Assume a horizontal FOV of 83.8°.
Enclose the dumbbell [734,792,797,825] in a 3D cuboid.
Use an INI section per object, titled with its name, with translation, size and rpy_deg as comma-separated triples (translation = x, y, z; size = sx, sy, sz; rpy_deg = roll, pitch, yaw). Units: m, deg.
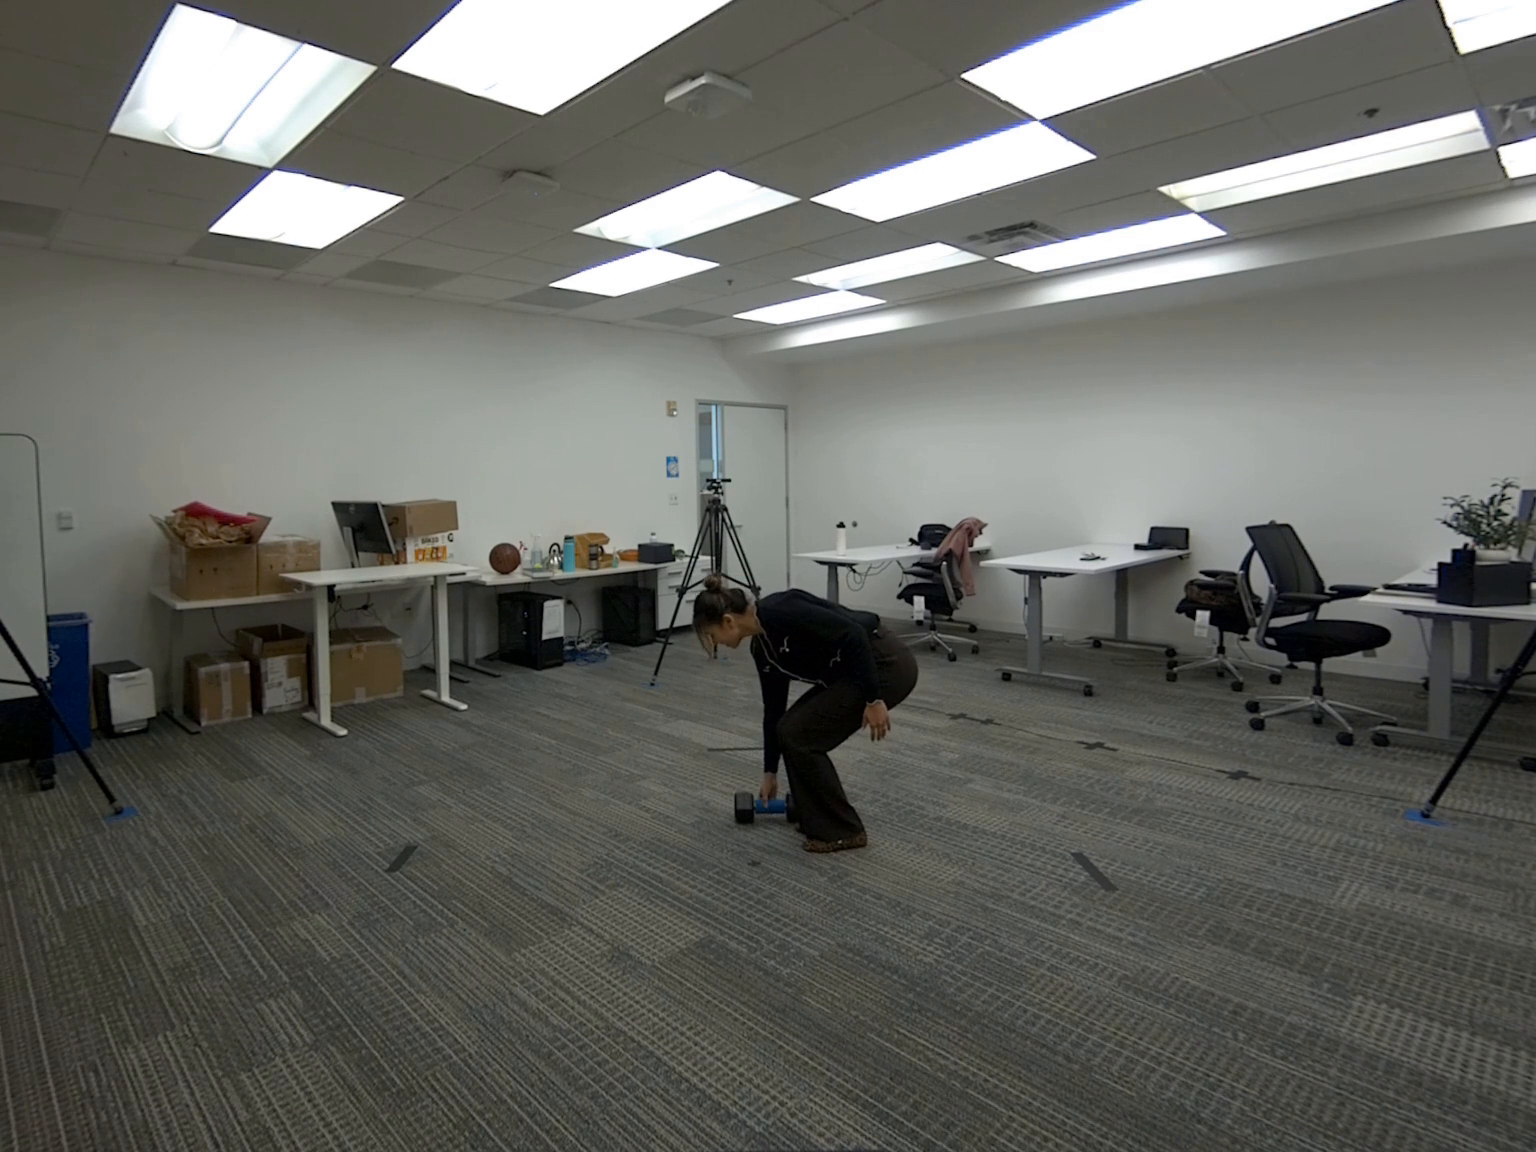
[dumbbell]
translation = 0.009, 0.945, 3.490
size = 0.293, 0.126, 0.106
rpy_deg = -2, -35, -1
